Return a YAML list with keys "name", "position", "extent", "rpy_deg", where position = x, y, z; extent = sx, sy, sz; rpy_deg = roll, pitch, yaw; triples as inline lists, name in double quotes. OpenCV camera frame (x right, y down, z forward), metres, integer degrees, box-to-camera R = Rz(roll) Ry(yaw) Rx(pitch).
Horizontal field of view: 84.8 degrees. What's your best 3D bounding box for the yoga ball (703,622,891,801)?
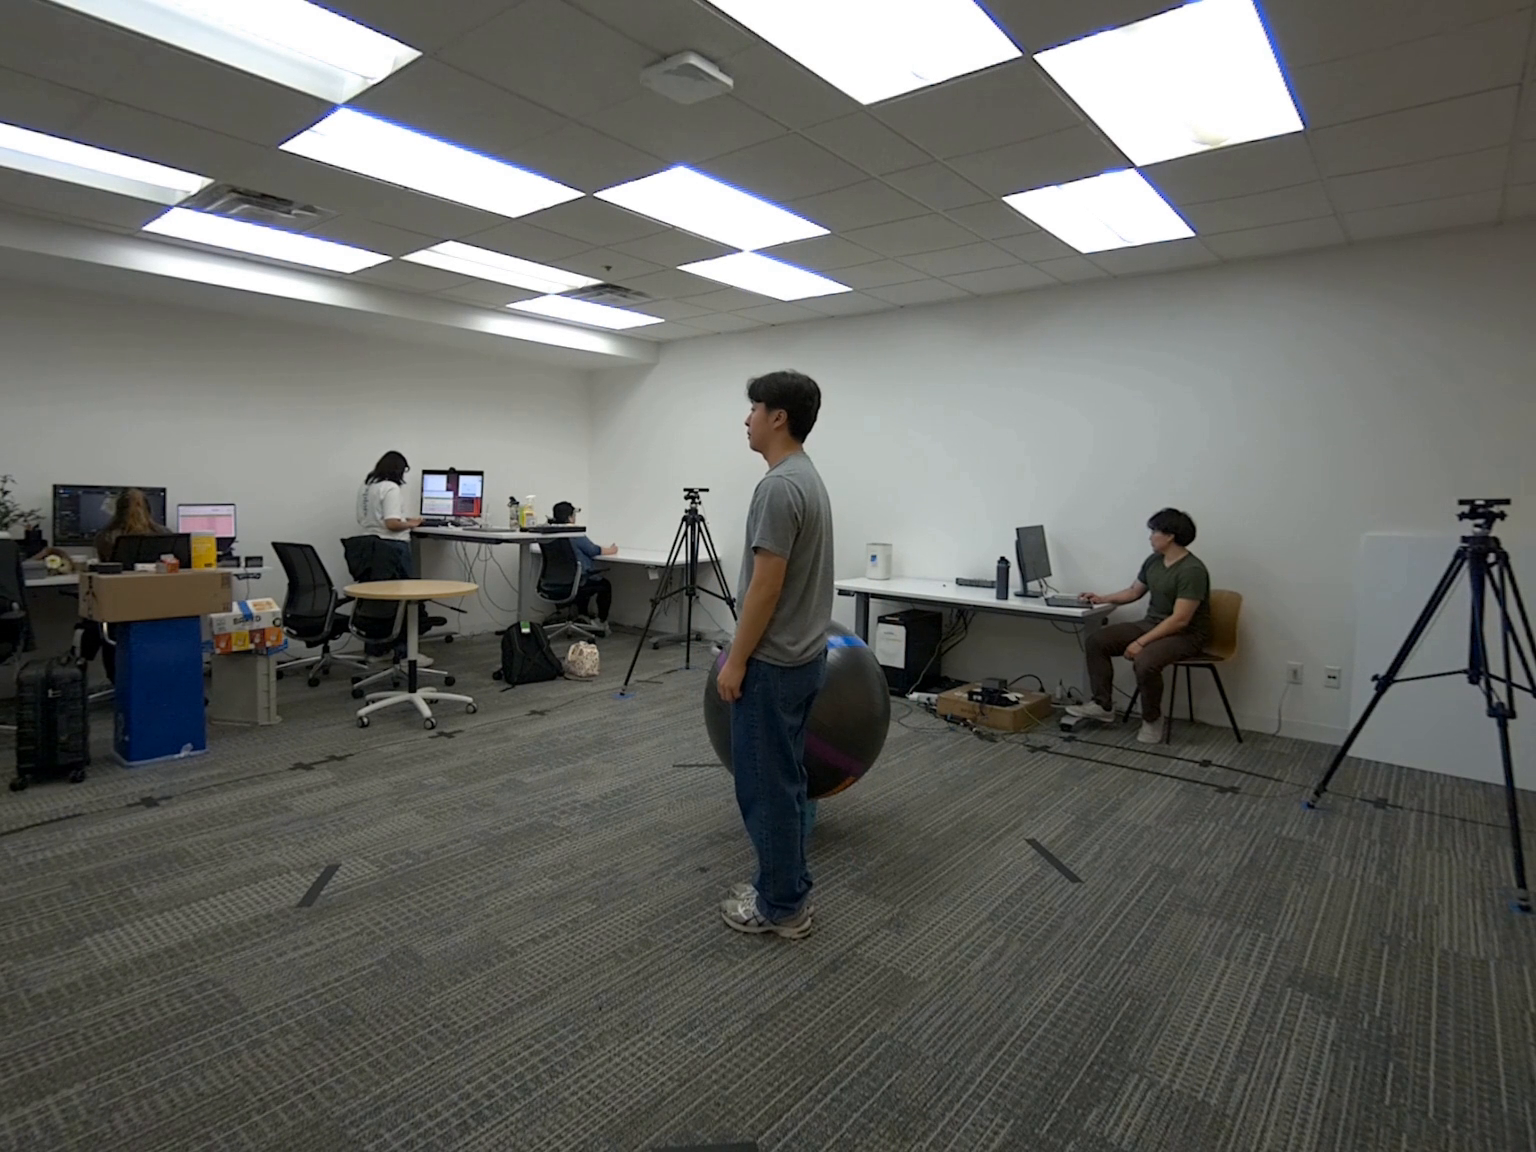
- name: "yoga ball"
  position: [0.109, 0.533, 3.495]
  extent: [0.757, 0.756, 0.761]
  rpy_deg: [1, 4, -2]
